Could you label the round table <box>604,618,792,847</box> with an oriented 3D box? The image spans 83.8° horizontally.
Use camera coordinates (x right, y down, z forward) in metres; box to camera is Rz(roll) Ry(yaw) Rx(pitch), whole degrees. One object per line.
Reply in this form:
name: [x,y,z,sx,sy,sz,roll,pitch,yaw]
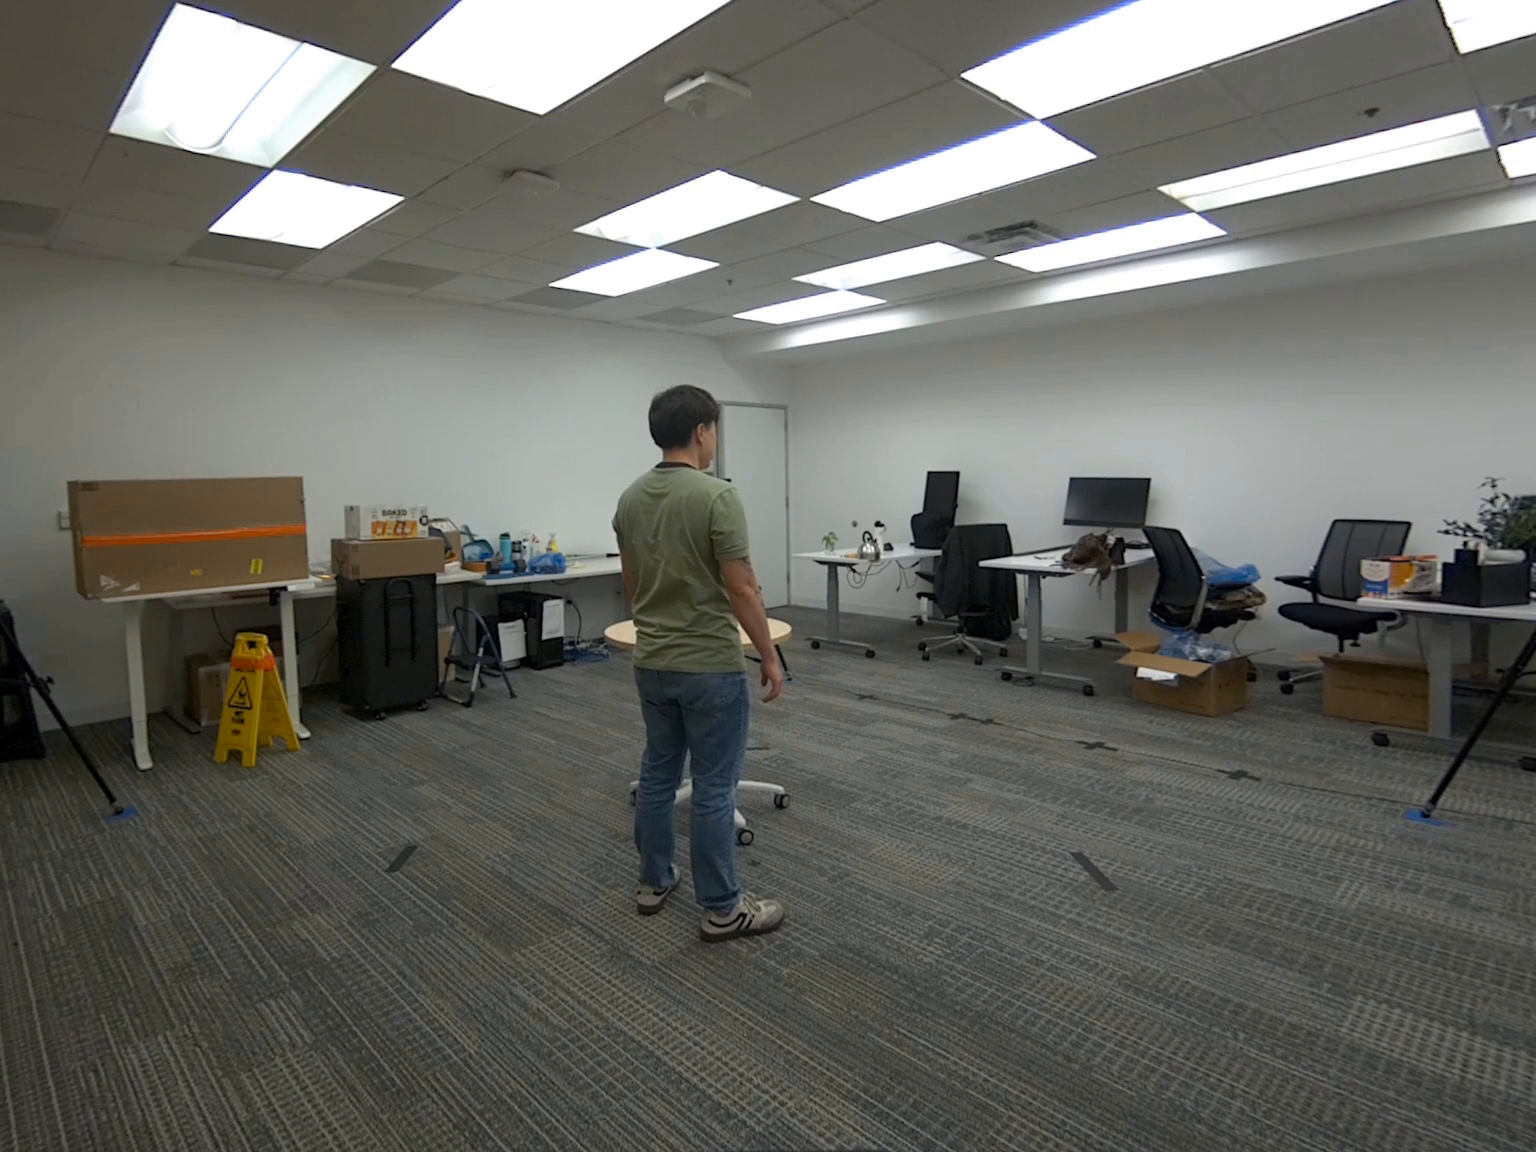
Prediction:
round table: [-0.276,0.610,3.543,0.763,0.791,0.768,-1,5,-2]
